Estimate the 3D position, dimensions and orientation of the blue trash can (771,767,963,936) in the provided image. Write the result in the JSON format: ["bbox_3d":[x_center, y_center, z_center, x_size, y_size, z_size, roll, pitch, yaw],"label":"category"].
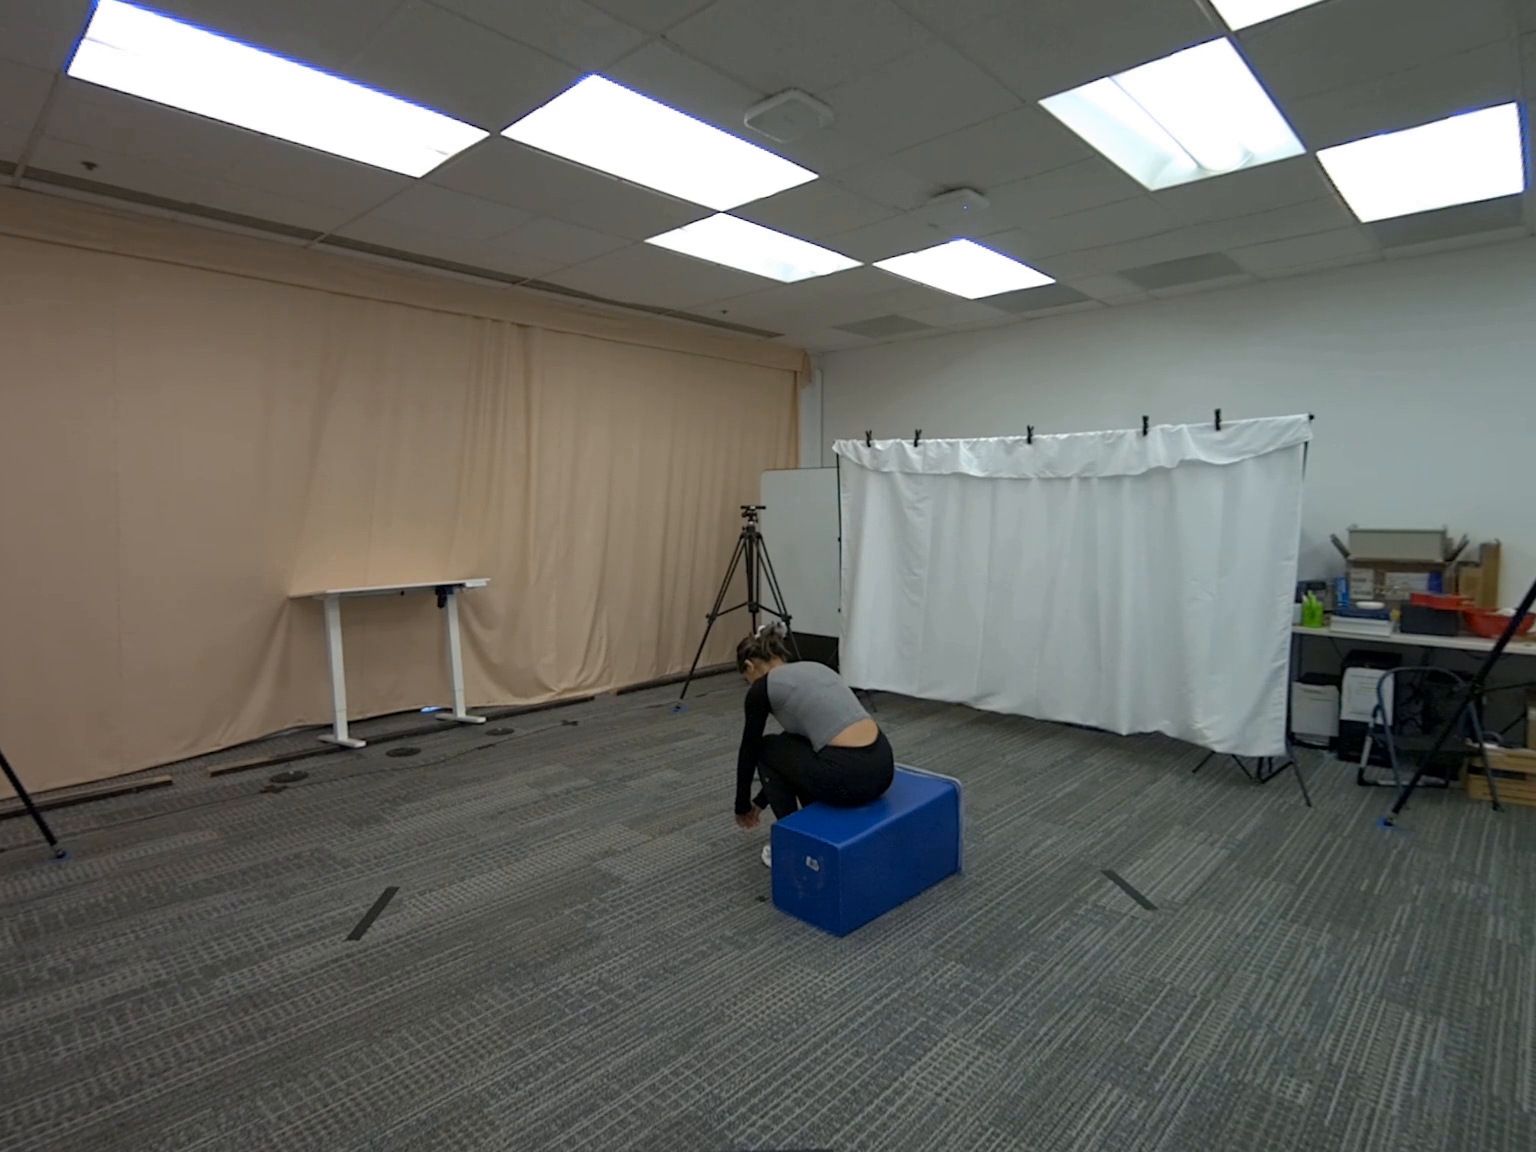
[{"bbox_3d":[0.371,0.963,3.040,0.391,0.373,0.692,4,8,43],"label":"blue trash can"}]
